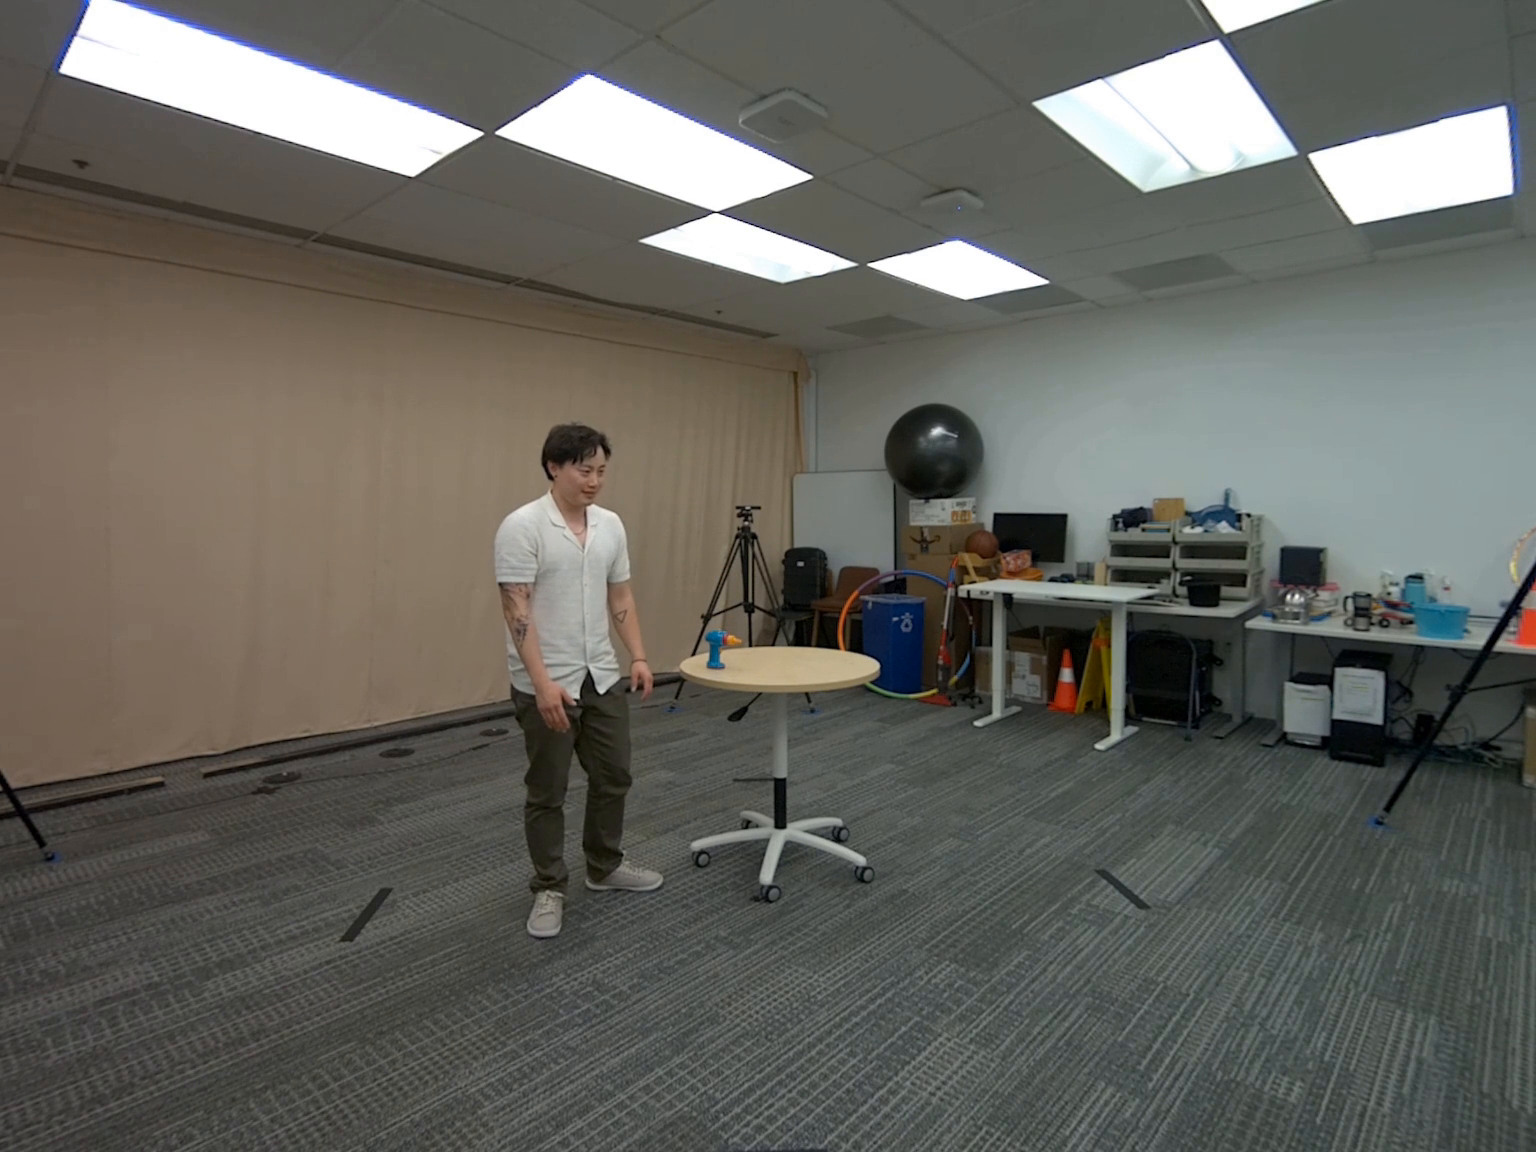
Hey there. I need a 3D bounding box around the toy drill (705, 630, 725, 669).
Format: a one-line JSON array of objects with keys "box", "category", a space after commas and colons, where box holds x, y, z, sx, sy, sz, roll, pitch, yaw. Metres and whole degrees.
[{"box": [-0.164, 0.279, 3.159, 0.175, 0.145, 0.059, 3, 5, 34], "category": "toy drill"}]
